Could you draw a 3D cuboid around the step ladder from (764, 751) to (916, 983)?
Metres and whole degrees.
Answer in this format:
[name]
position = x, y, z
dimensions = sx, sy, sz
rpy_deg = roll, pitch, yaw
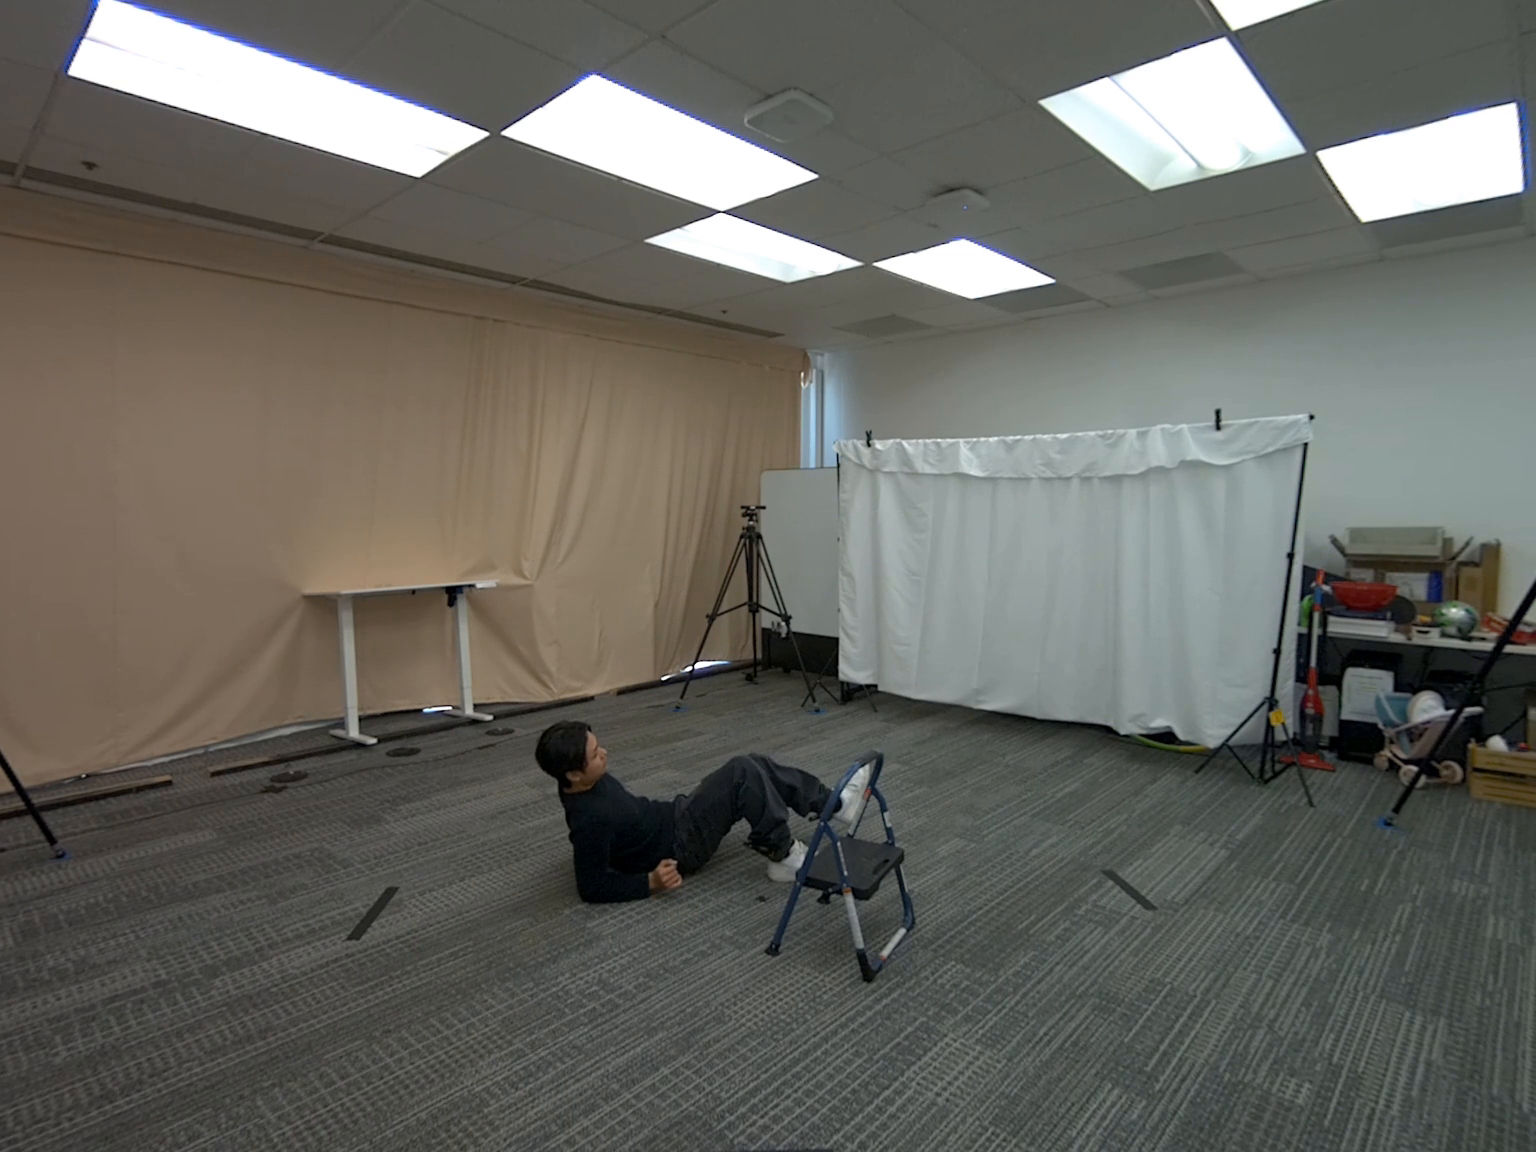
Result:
[step ladder]
position = 0.247, 0.863, 2.694
dimensions = 0.359, 0.605, 0.419
rpy_deg = 2, 4, 29
